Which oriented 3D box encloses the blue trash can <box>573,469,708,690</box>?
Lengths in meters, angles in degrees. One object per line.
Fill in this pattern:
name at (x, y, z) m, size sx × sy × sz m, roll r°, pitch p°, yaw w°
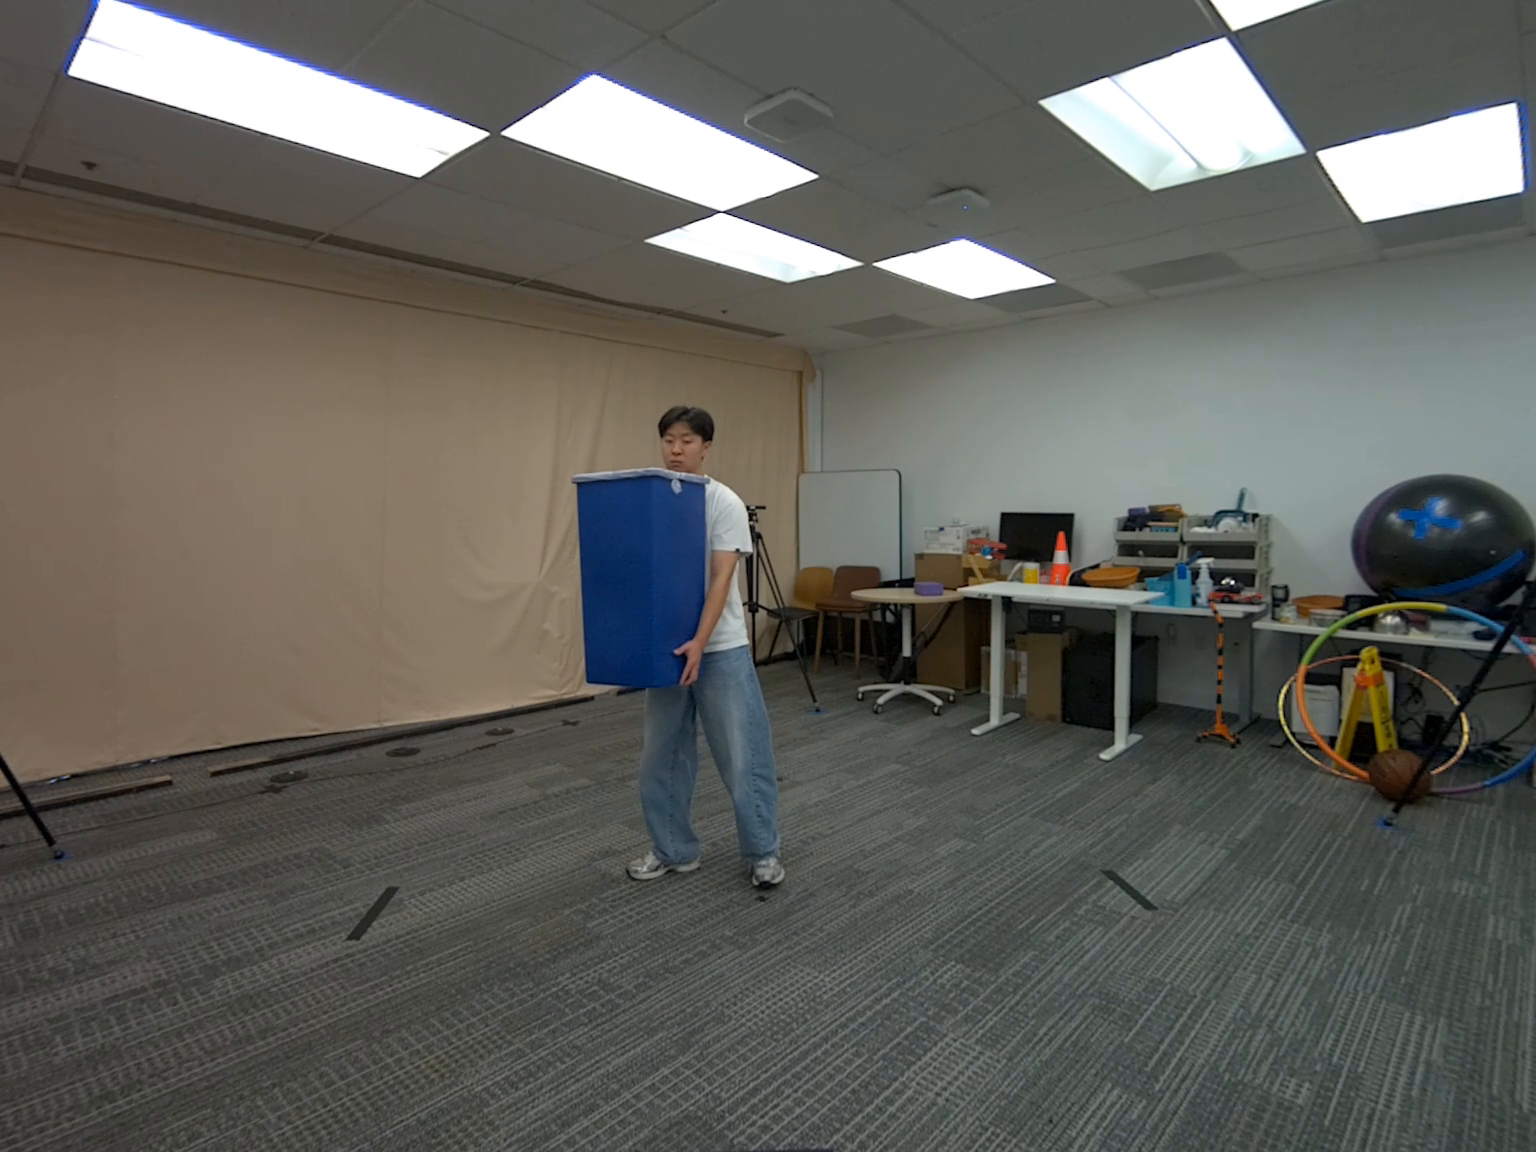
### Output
blue trash can at (-0.439, 0.006, 2.948) m, size 0.384 × 0.714 × 0.367 m, roll 0°, pitch -2°, yaw 28°
